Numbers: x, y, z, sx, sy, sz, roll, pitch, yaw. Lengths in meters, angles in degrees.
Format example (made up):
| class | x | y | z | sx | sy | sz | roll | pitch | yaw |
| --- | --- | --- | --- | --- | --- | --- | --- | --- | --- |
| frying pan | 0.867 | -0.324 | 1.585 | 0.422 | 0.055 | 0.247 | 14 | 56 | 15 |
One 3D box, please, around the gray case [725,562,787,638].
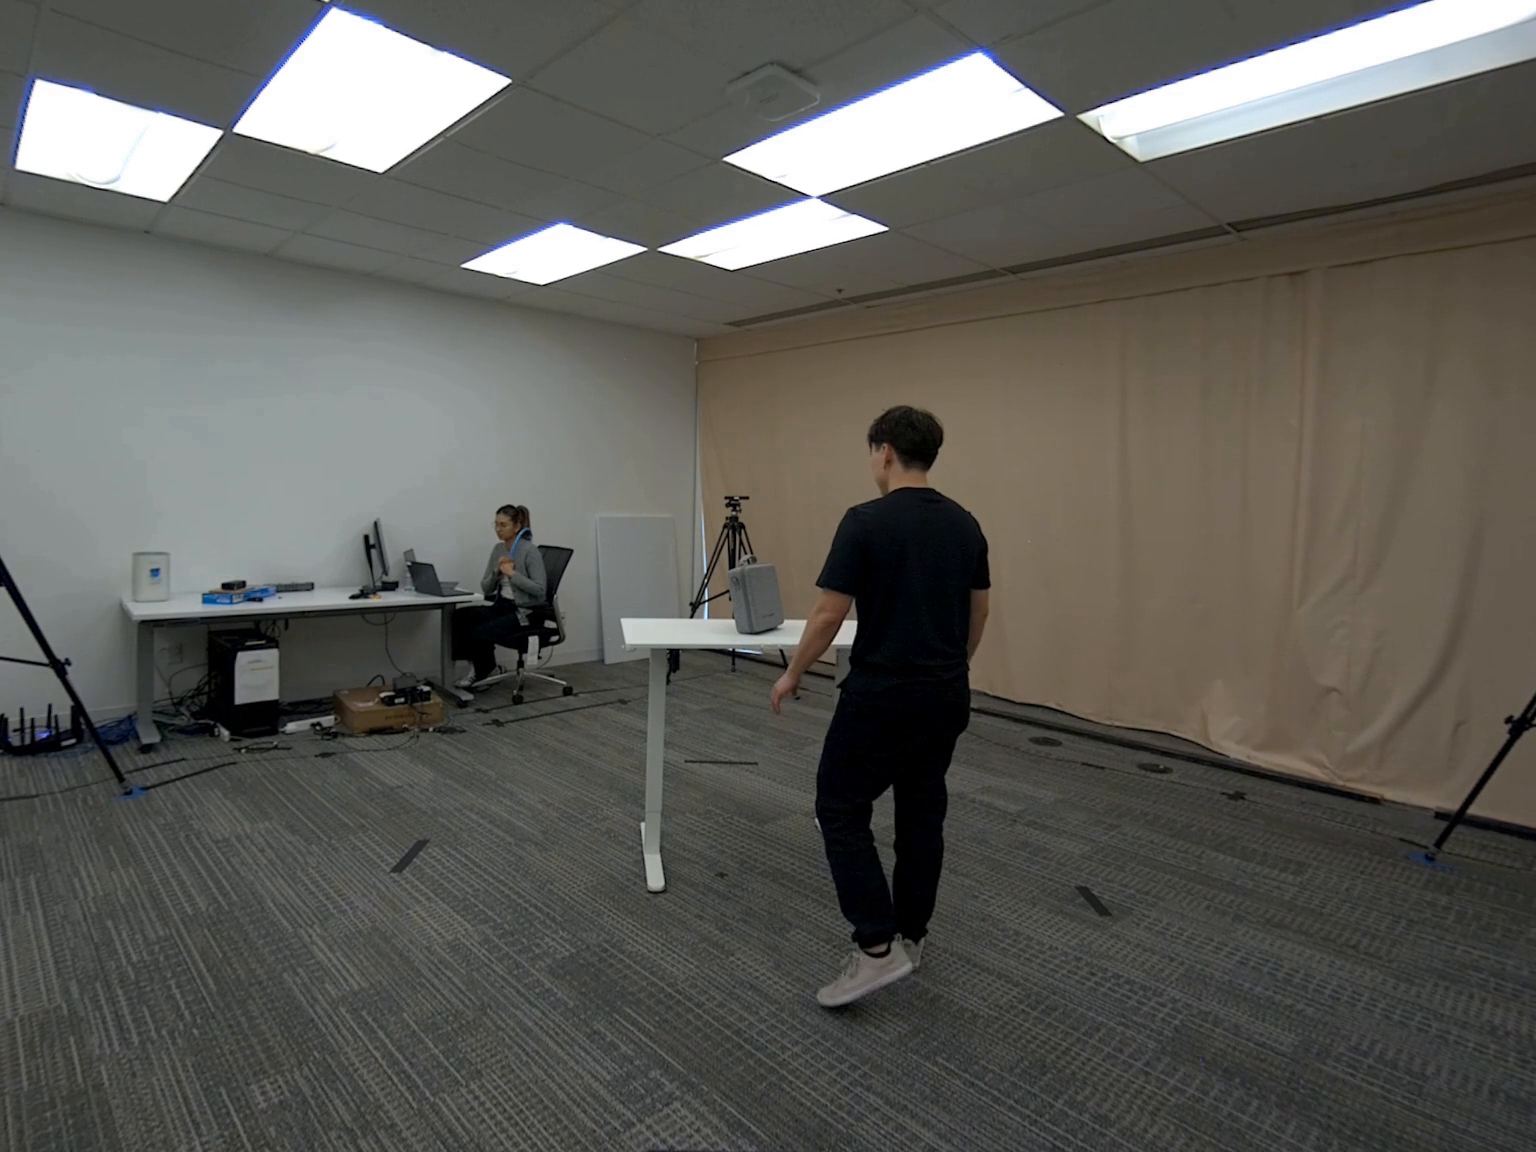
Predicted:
| class | x | y | z | sx | sy | sz | roll | pitch | yaw |
| --- | --- | --- | --- | --- | --- | --- | --- | --- | --- |
| gray case | -0.045 | 0.085 | 3.242 | 0.106 | 0.261 | 0.252 | -9 | -2 | 24 |
